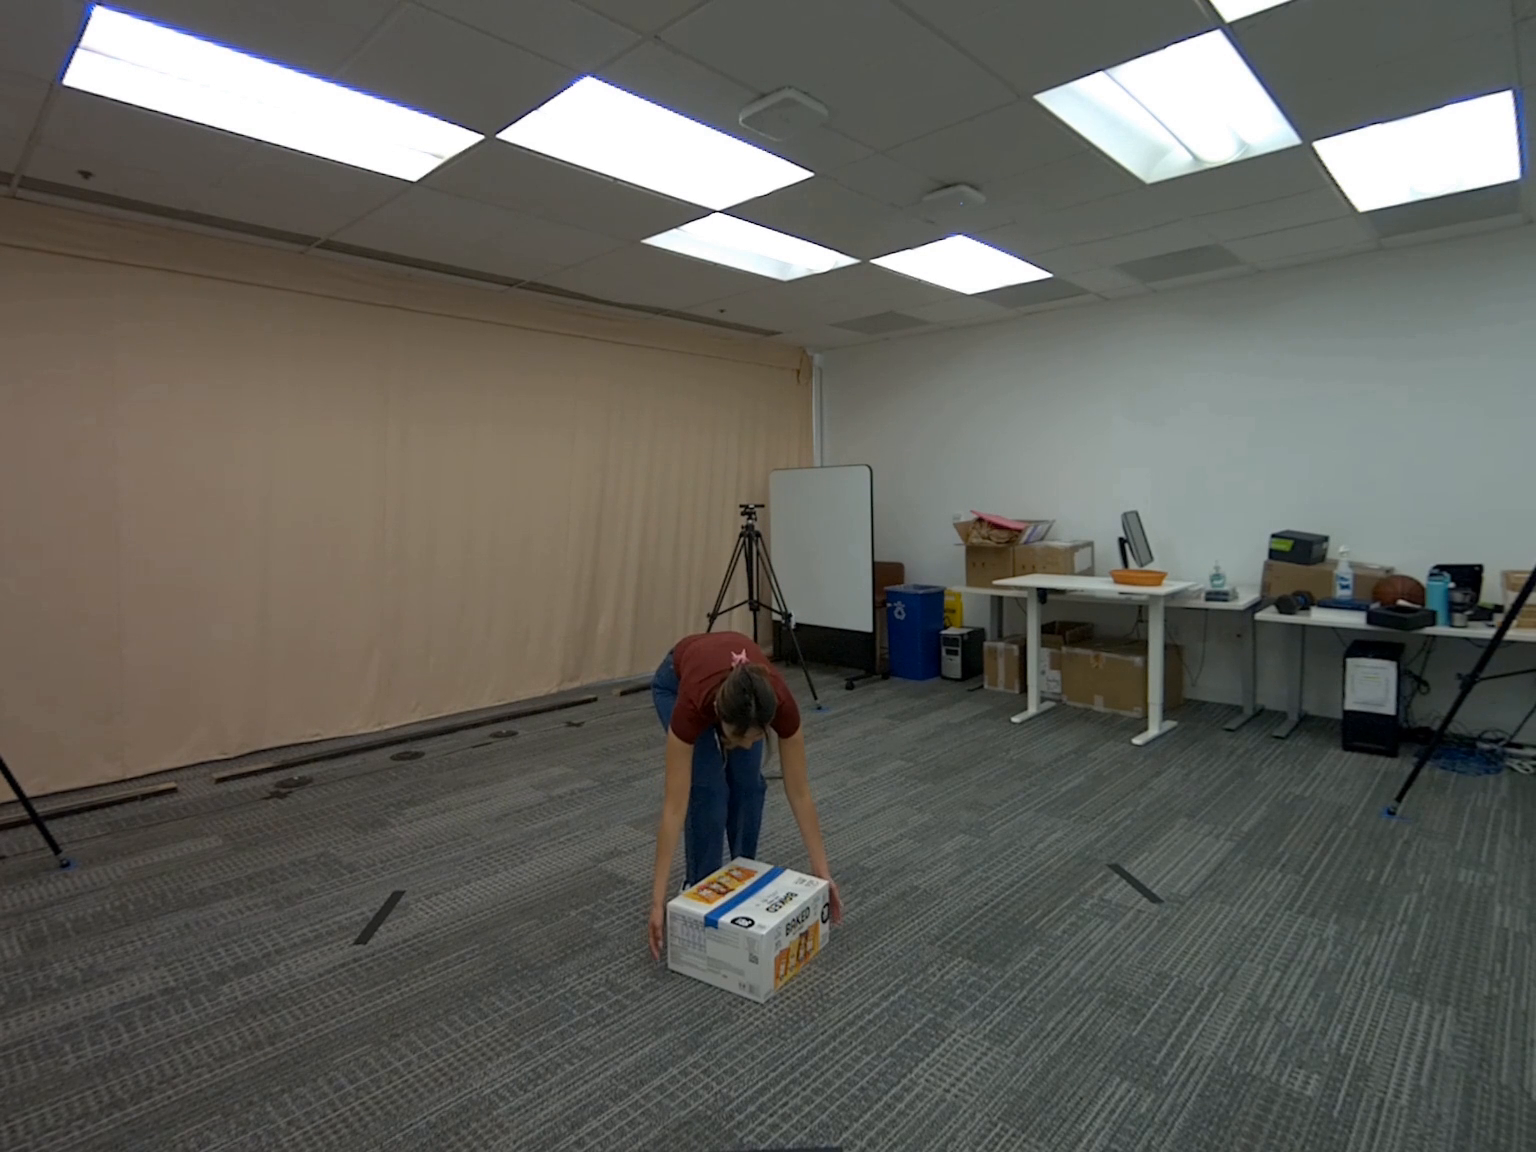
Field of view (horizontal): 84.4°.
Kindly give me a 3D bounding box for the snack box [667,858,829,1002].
[{"bbox_3d":[-0.050,1.070,2.592,0.351,0.205,0.394,2,5,33],"label":"snack box"}]
